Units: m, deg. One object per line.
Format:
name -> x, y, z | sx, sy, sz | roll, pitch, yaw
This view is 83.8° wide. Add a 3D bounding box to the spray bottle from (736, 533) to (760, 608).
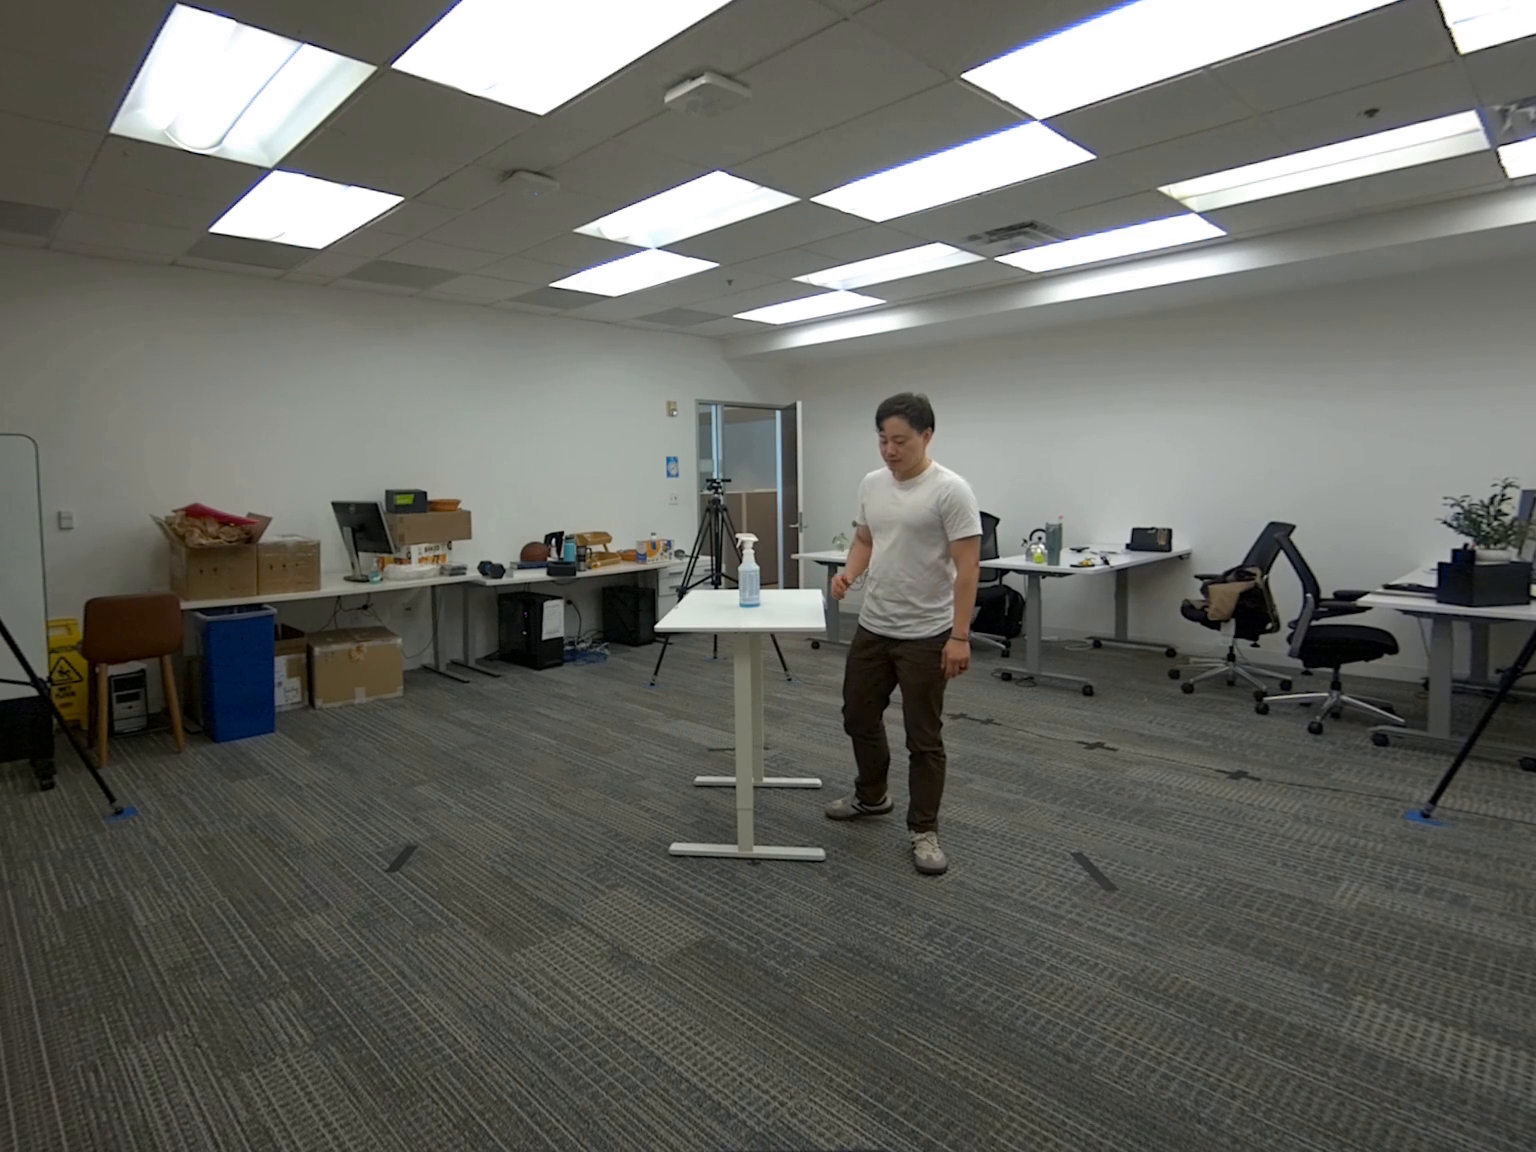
spray bottle -> -0.081, -0.028, 3.473 | 0.091, 0.297, 0.086 | -2, 2, 8
